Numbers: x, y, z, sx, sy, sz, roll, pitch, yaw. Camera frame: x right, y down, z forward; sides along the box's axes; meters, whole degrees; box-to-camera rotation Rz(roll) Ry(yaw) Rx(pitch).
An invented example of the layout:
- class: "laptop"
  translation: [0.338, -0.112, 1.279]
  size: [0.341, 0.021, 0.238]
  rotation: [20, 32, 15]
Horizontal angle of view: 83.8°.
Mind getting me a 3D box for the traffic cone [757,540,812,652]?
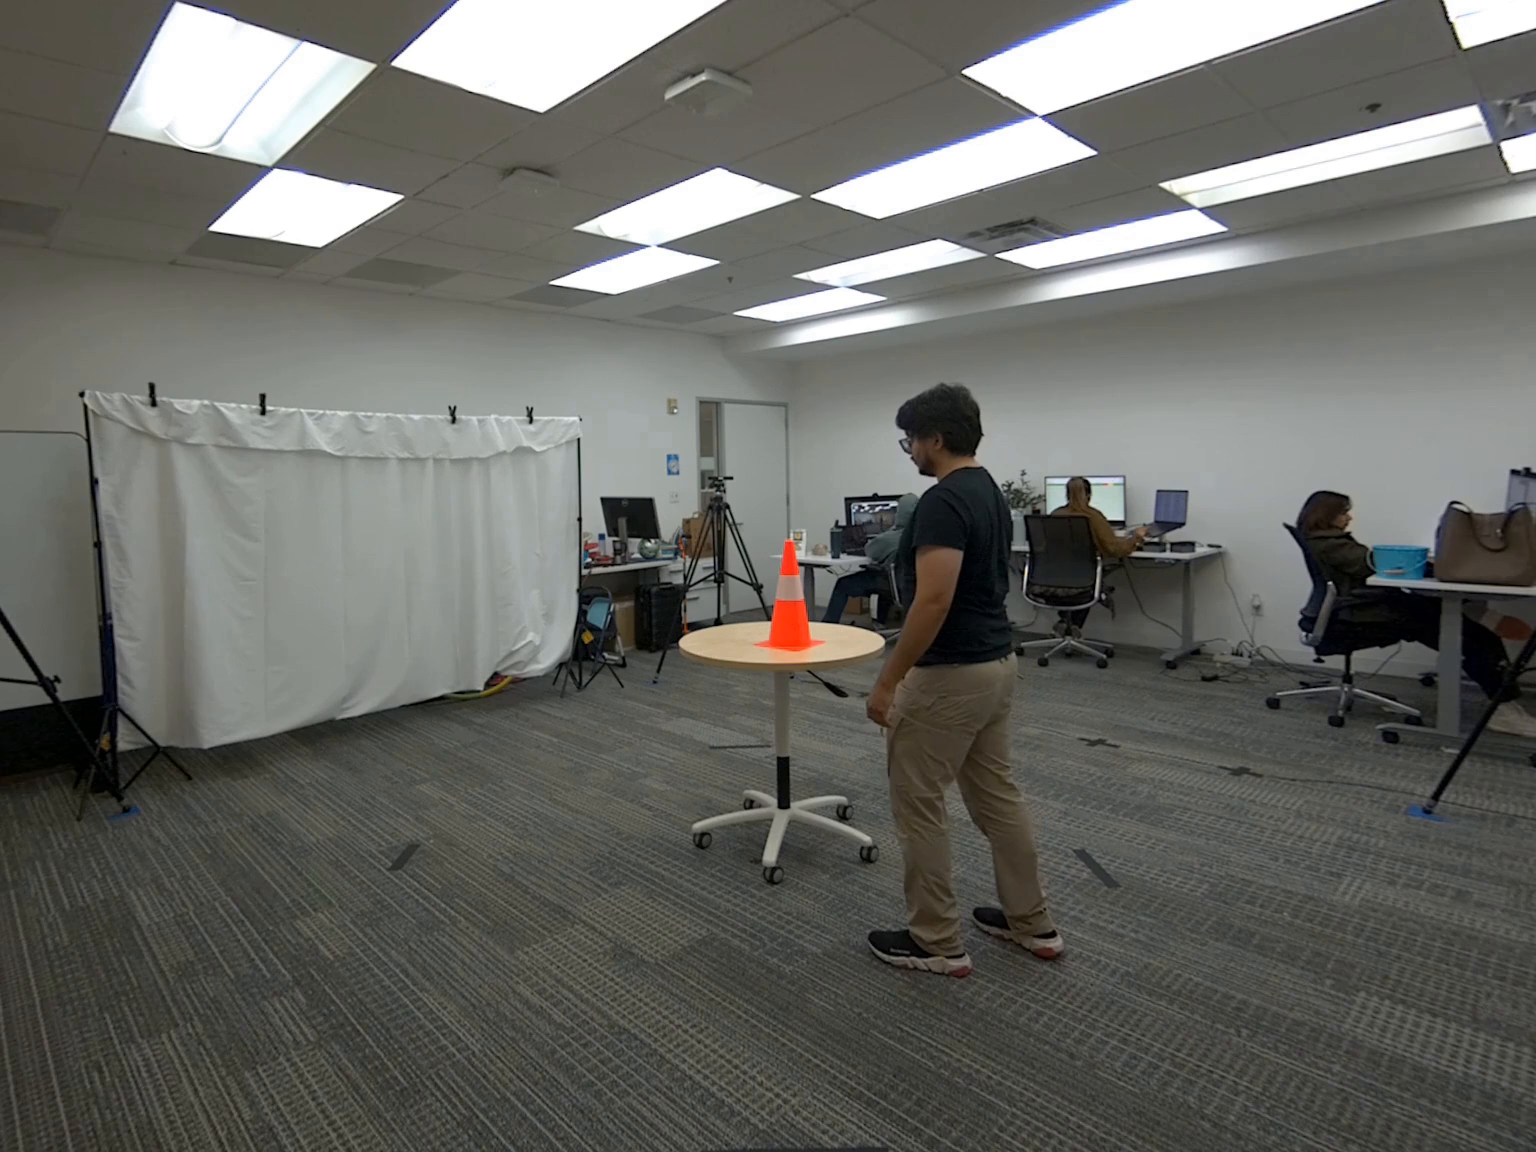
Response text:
- class: "traffic cone"
  translation: [0.077, 0.062, 3.116]
  size: [0.209, 0.382, 0.200]
  rotation: [2, 5, 36]
